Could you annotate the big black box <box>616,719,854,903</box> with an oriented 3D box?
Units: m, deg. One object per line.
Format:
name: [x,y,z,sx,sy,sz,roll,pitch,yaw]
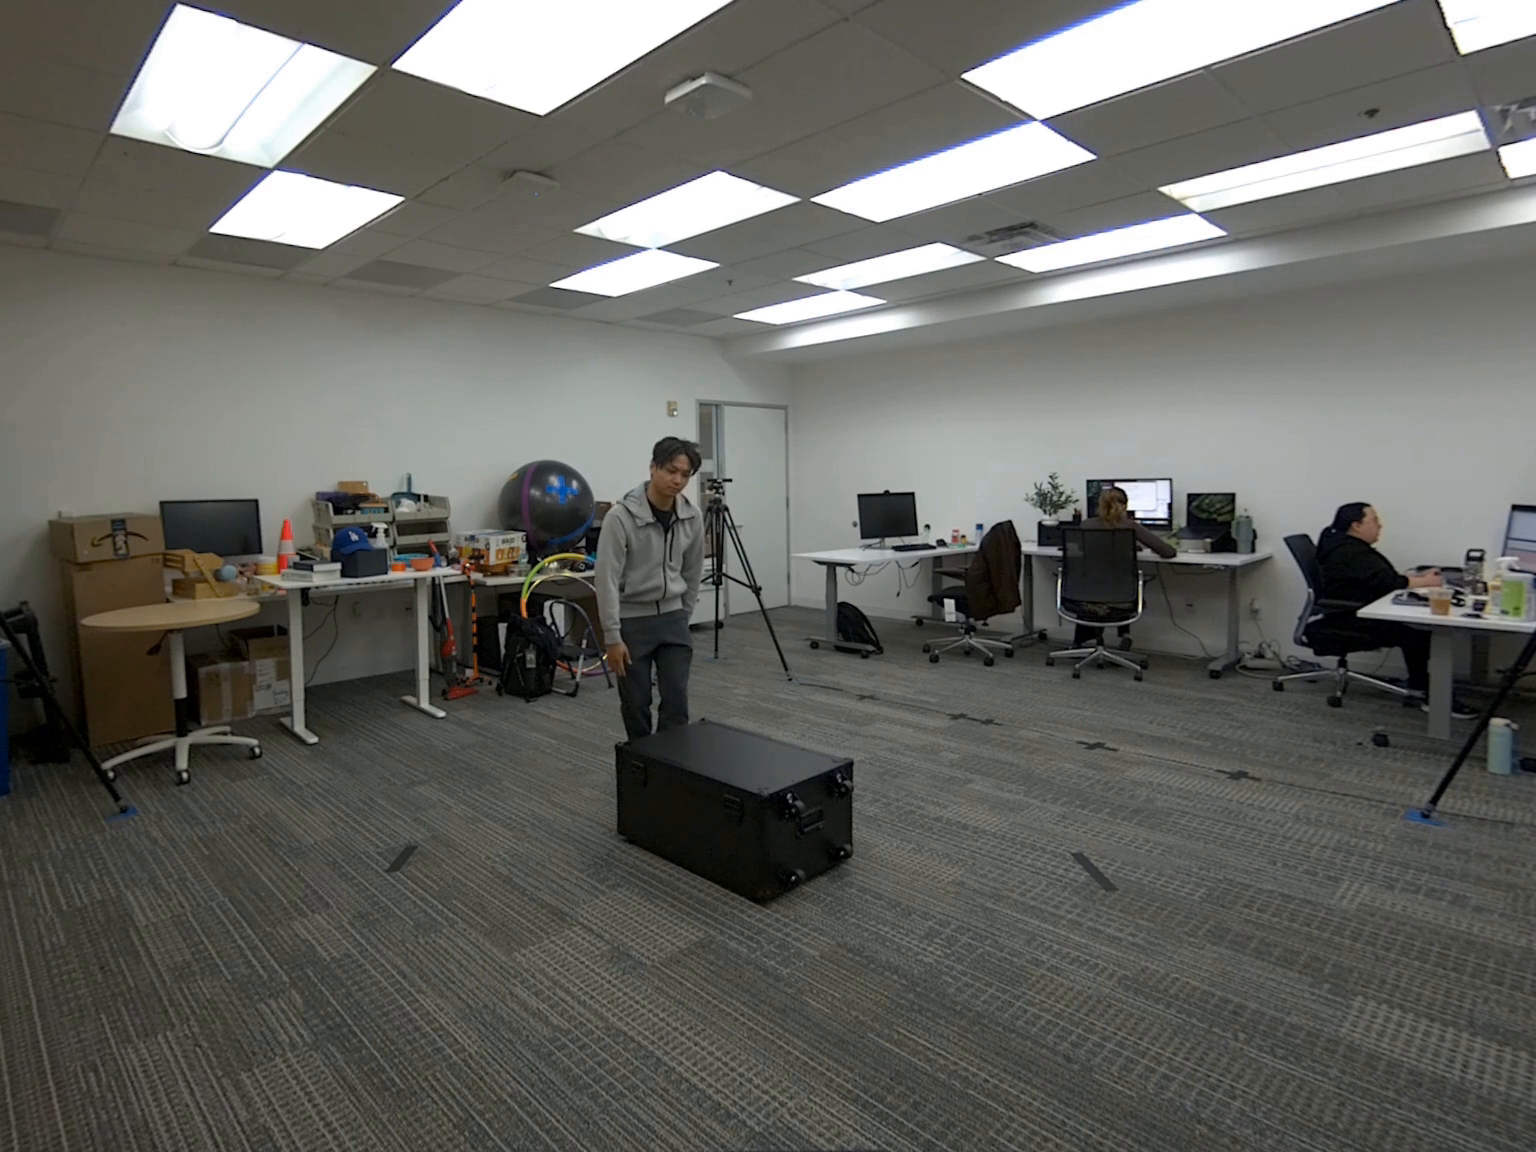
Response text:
big black box: [-0.119,0.845,3.185,0.888,0.395,0.508,4,7,43]
